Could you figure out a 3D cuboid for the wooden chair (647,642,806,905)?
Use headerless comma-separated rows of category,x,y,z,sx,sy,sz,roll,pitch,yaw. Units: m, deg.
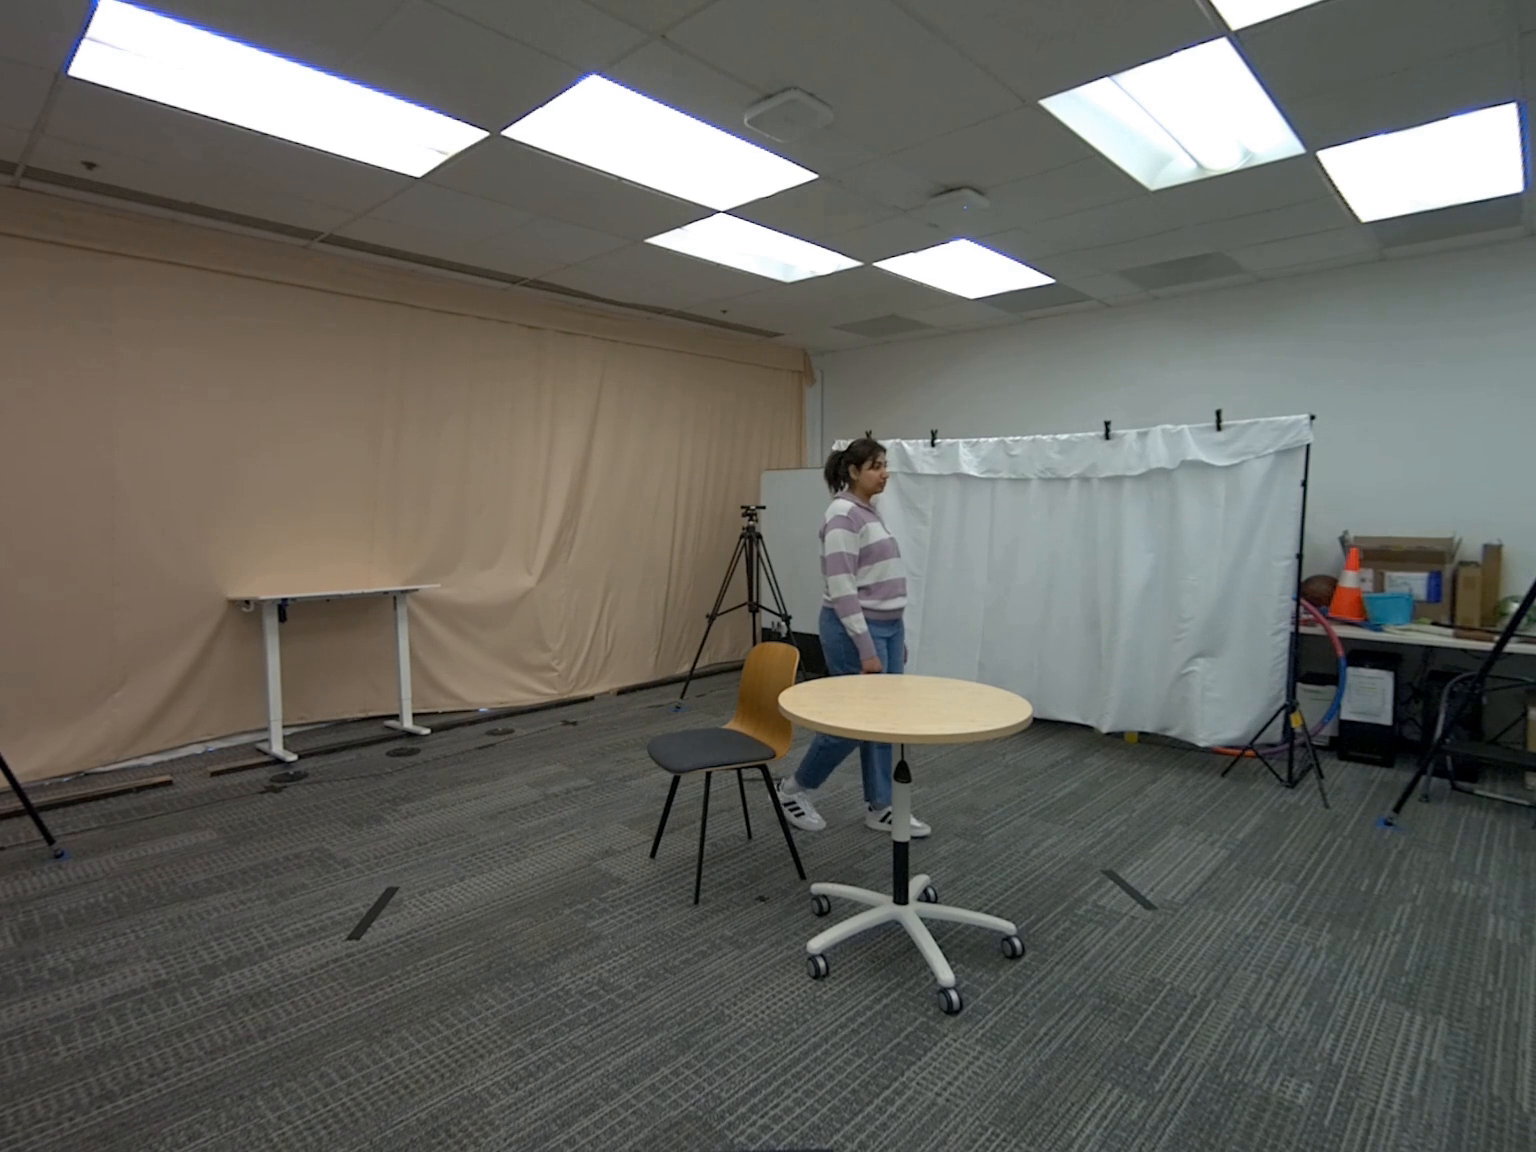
wooden chair,-0.170,0.699,3.201,0.509,0.877,0.491,3,2,-27
